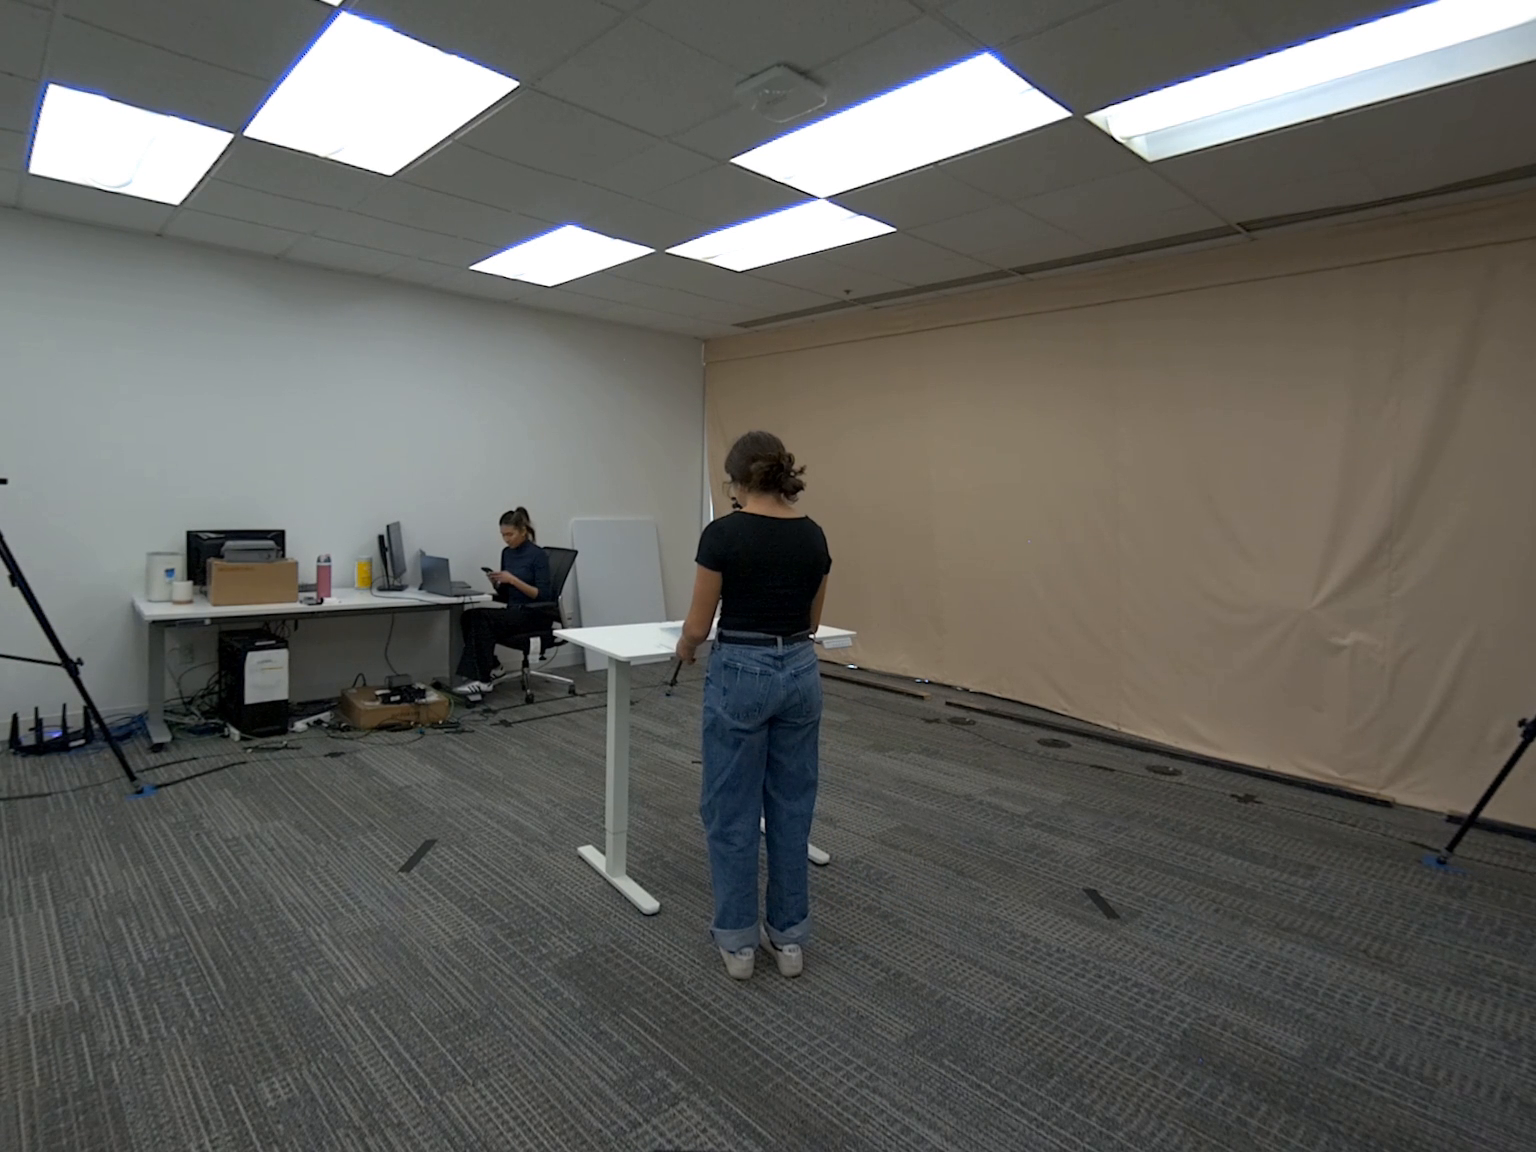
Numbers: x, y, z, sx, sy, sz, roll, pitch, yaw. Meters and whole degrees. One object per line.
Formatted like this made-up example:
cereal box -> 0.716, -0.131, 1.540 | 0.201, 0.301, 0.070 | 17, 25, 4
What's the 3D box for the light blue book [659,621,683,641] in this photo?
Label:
light blue book -> -0.240, 0.221, 2.843 | 0.188, 0.059, 0.267 | -3, 8, -27
